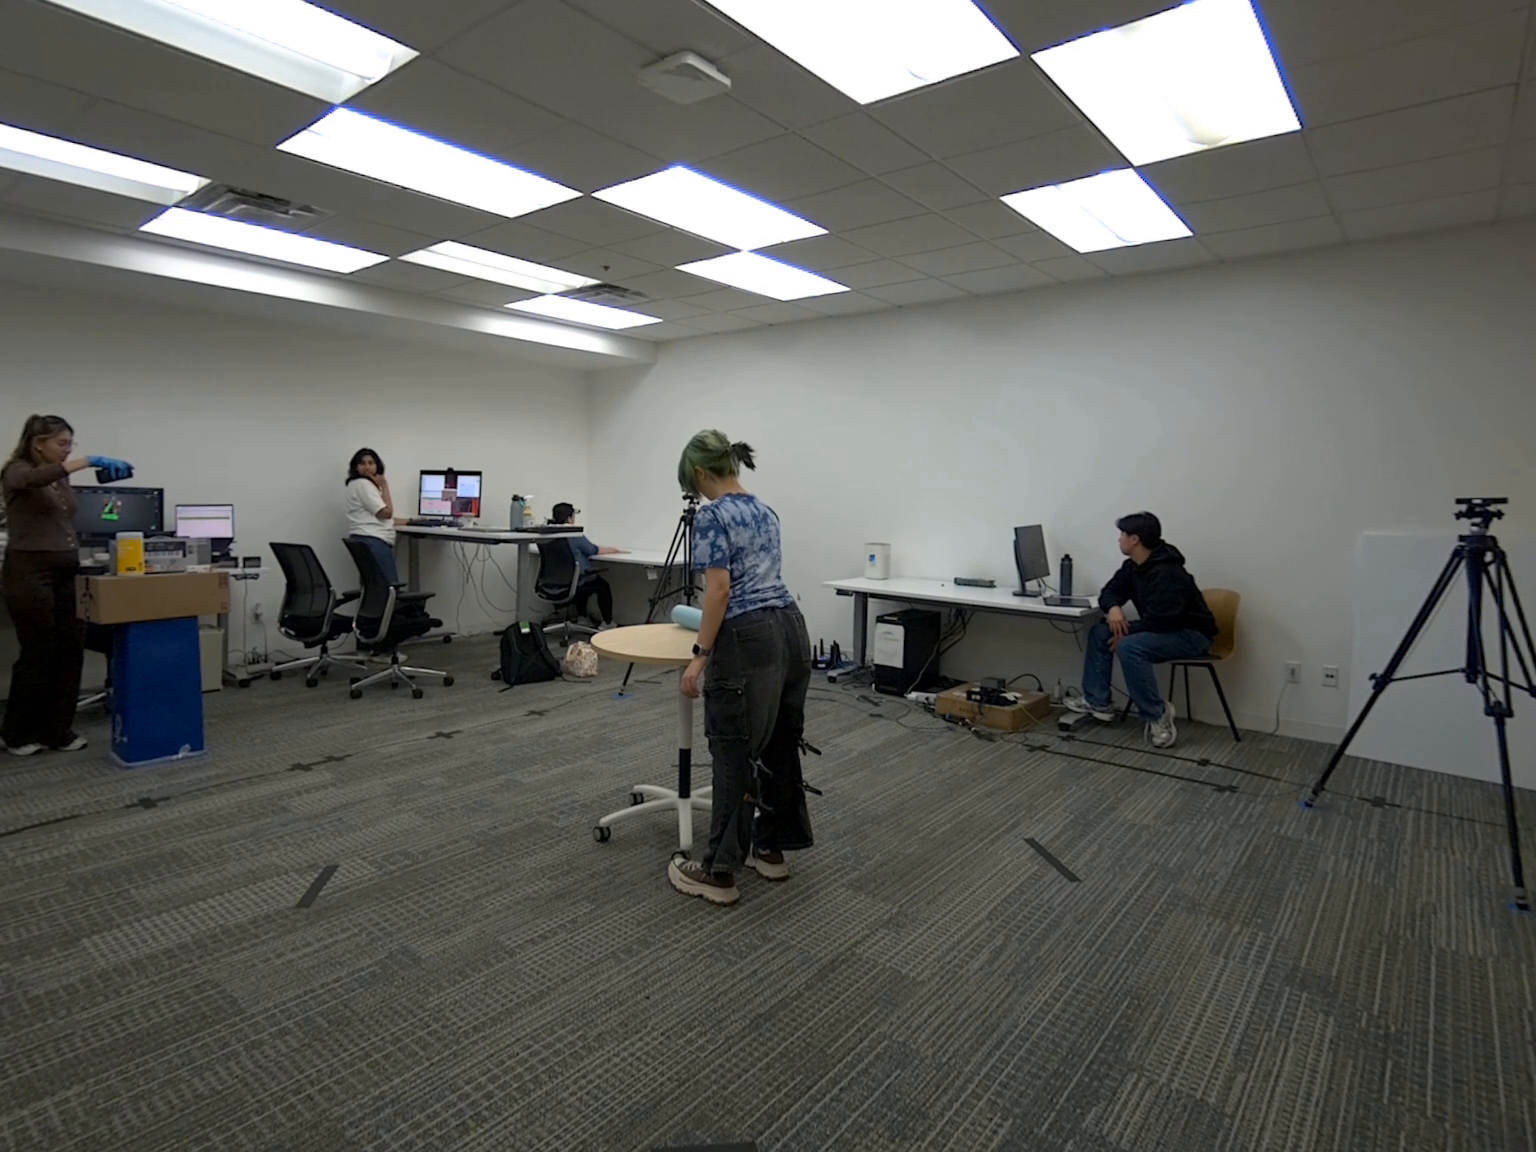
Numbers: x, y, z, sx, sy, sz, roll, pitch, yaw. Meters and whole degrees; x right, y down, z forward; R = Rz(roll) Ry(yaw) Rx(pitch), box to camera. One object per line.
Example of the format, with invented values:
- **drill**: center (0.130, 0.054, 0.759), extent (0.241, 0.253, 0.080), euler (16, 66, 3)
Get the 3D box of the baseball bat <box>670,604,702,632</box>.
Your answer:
- **baseball bat**: center (-0.228, 0.209, 3.539), extent (0.086, 0.088, 0.563), euler (-3, 10, -41)
